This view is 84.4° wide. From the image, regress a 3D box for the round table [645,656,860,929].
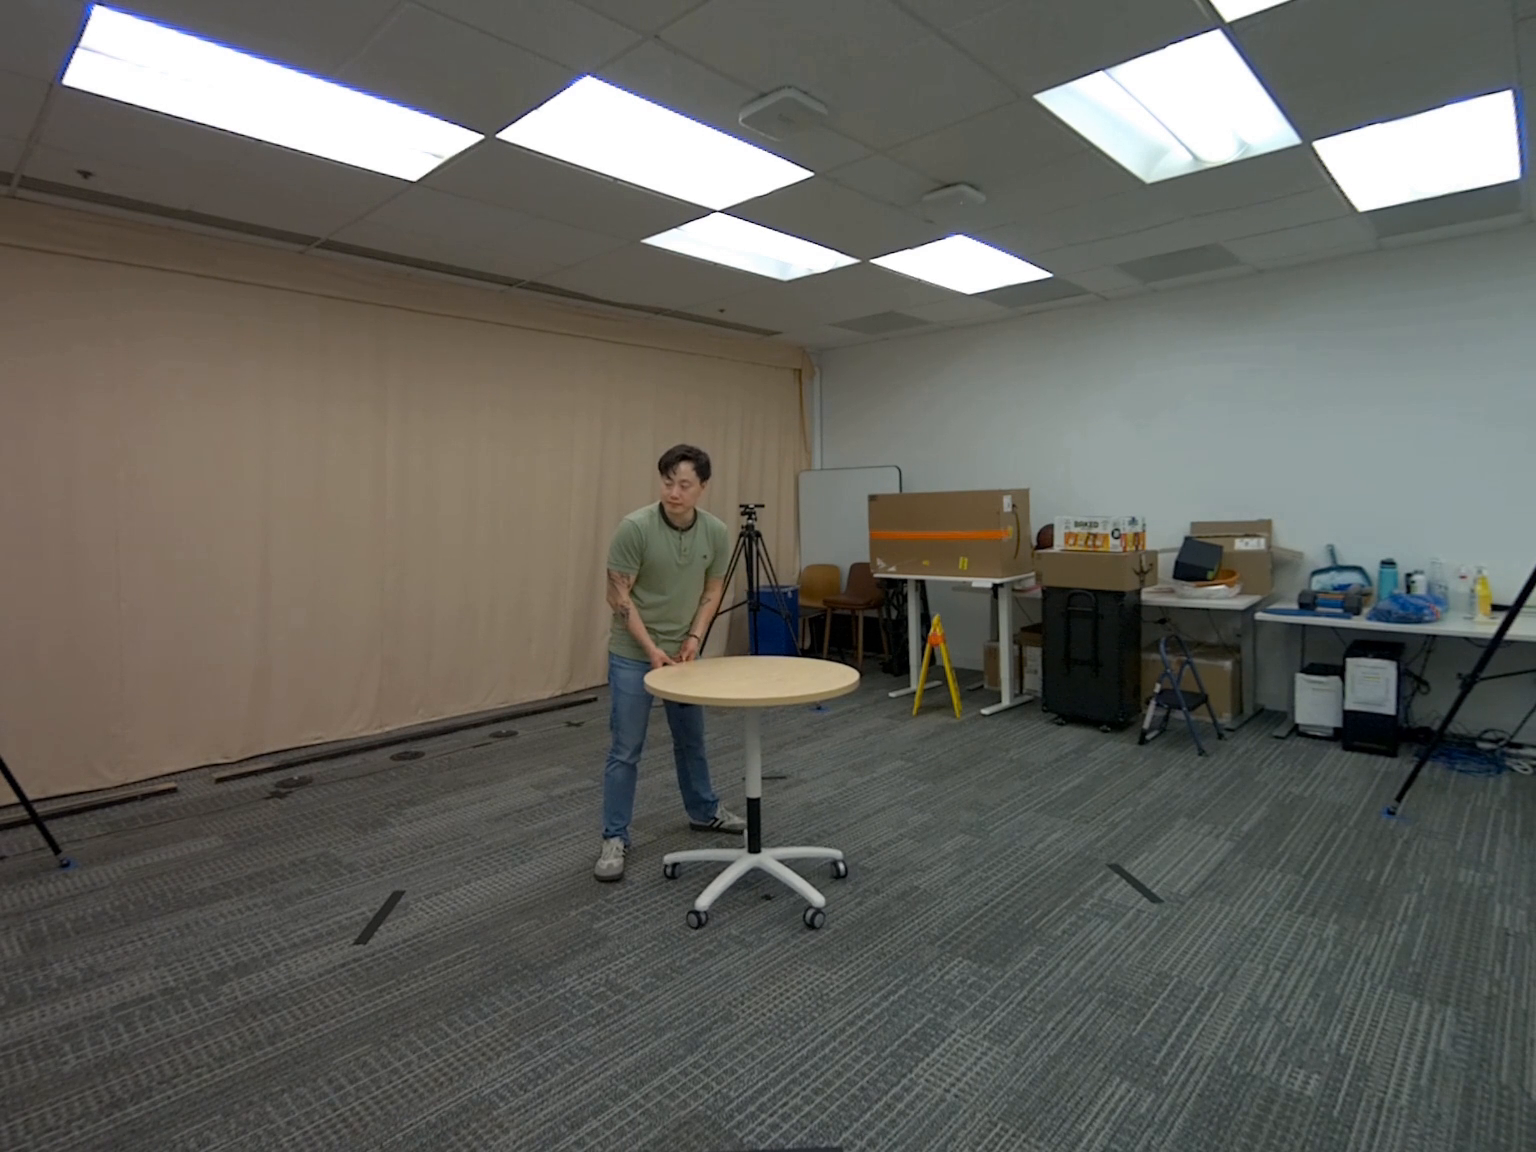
[{"bbox_3d":[-0.049,0.746,3.030,0.763,0.792,0.766,-1,3,-2],"label":"round table"}]
